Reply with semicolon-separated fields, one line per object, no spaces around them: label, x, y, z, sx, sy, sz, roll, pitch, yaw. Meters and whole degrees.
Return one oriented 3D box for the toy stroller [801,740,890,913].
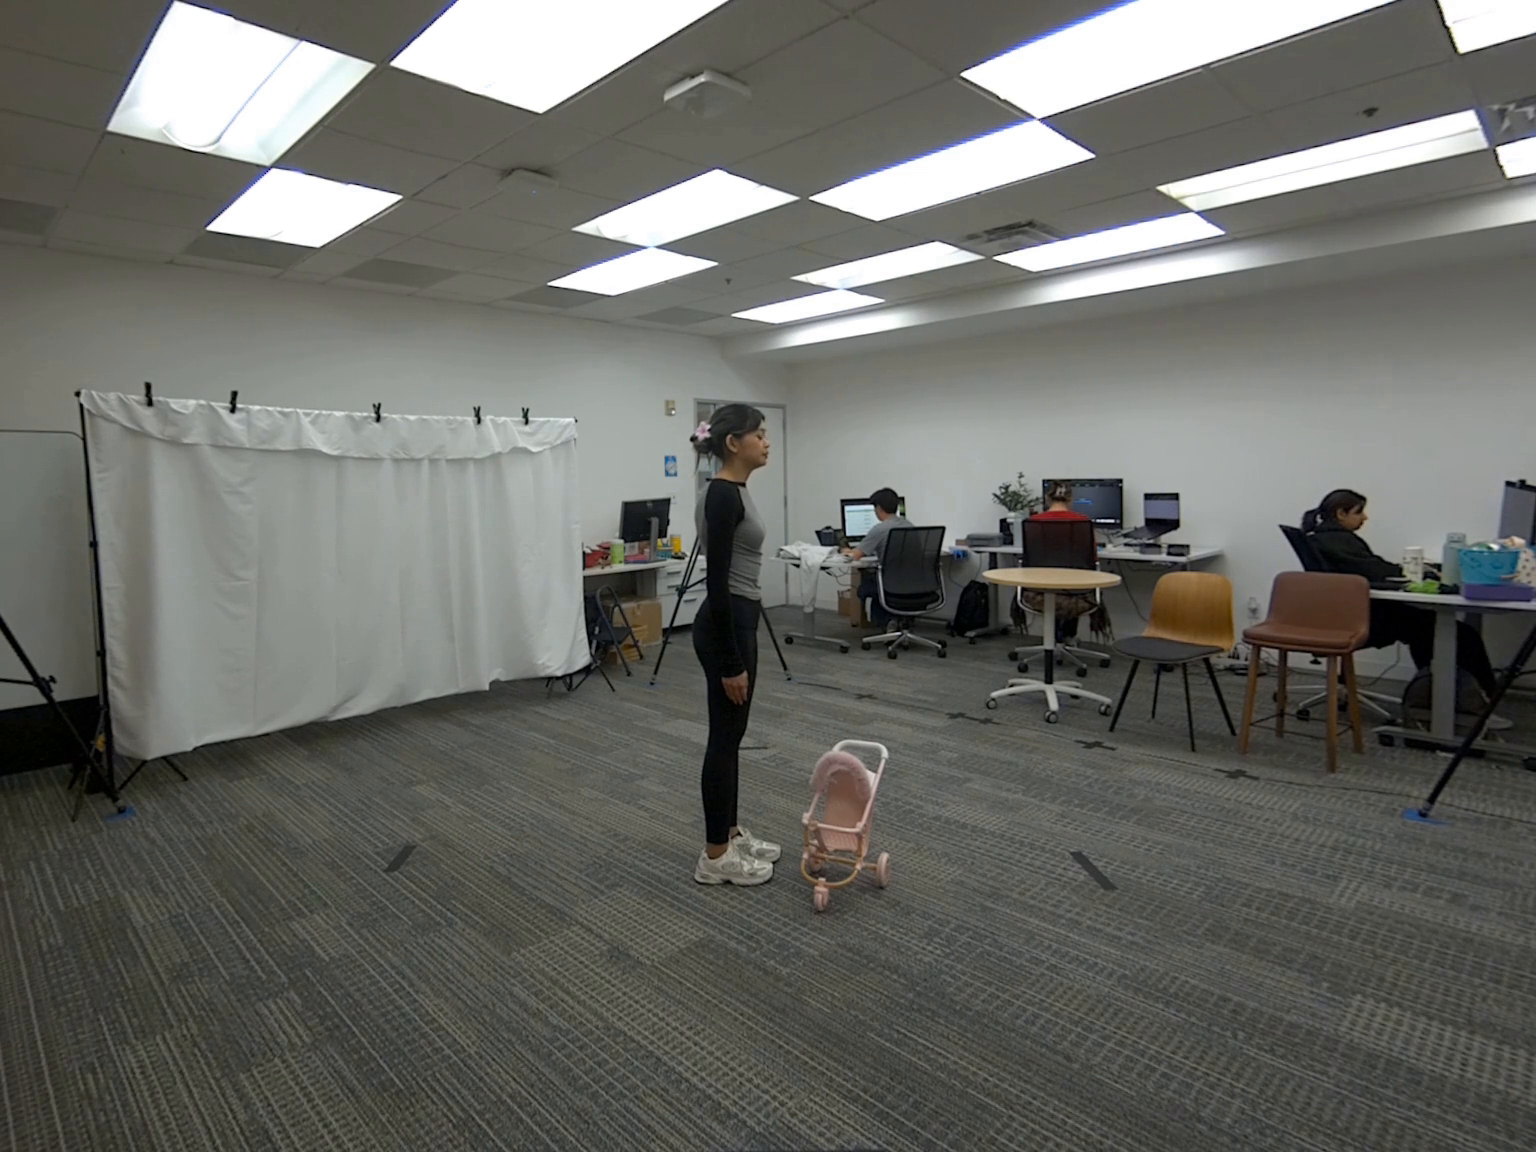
toy stroller;0.250;0.834;2.906;0.289;0.539;0.330;0;-10;31
